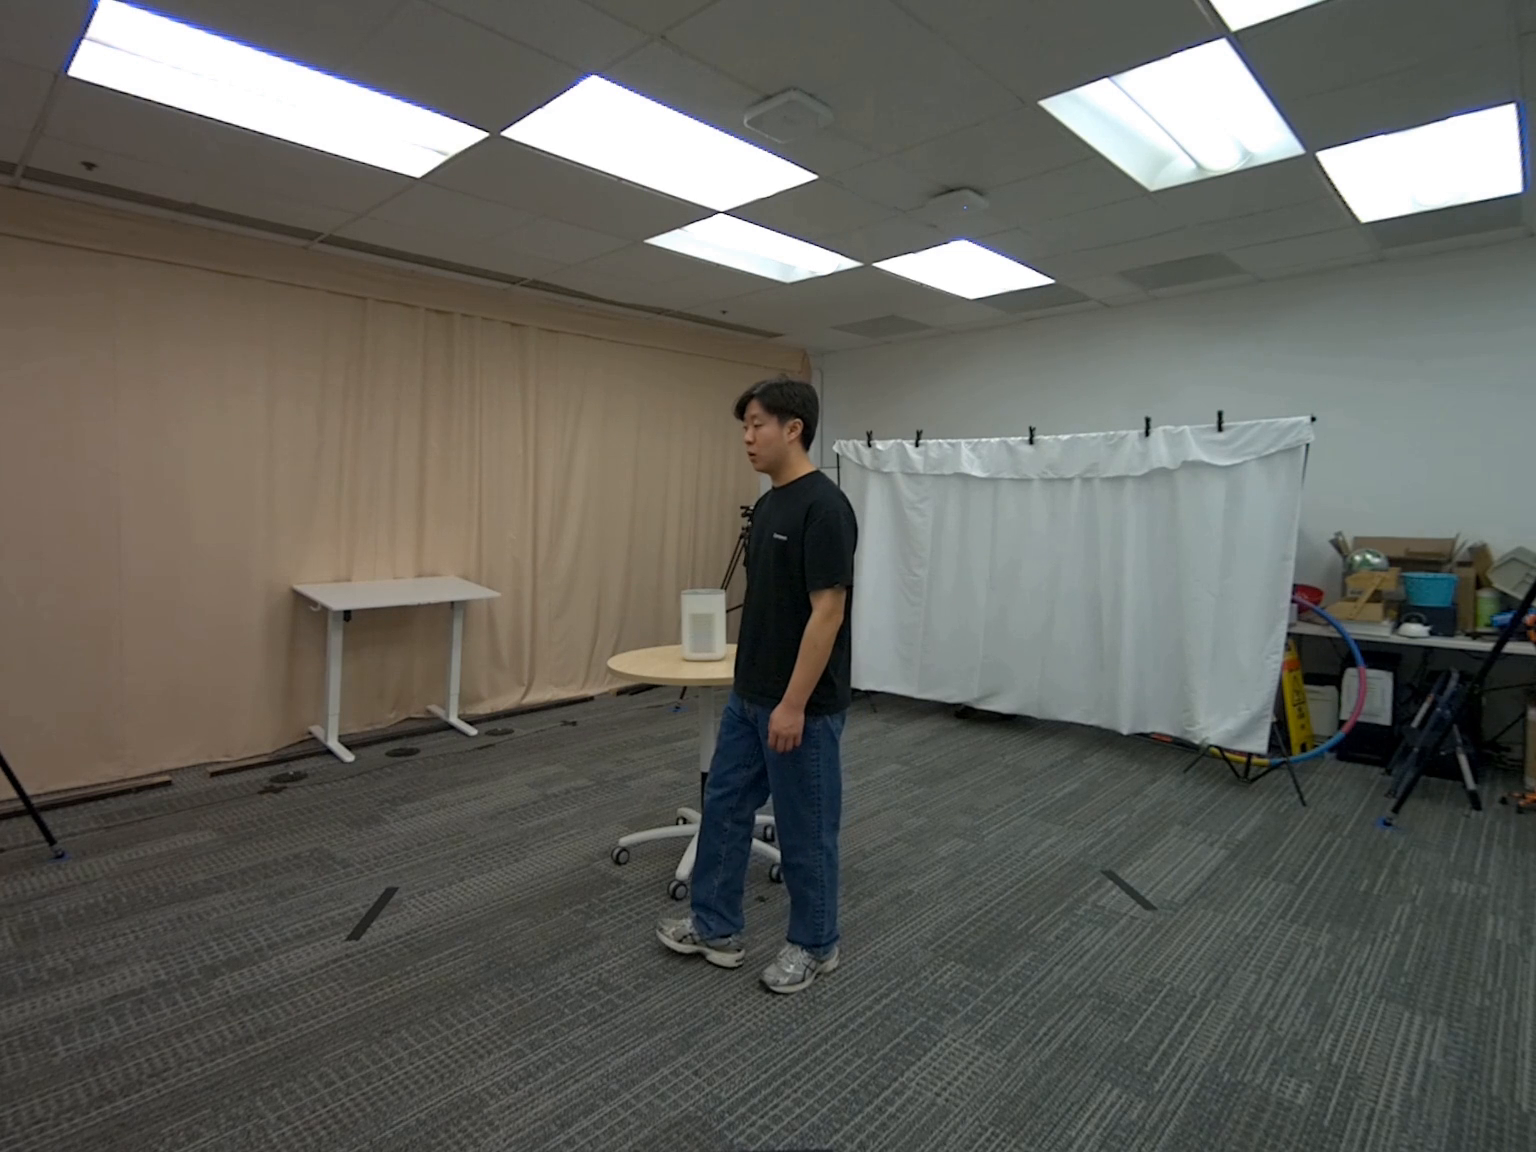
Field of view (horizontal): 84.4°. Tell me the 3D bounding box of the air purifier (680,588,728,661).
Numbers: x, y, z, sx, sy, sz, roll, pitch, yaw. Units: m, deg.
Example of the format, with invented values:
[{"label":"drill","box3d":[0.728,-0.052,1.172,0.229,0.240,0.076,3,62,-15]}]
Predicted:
[{"label":"air purifier","box3d":[-0.254,0.193,3.303,0.173,0.265,0.170,0,3,5]}]
